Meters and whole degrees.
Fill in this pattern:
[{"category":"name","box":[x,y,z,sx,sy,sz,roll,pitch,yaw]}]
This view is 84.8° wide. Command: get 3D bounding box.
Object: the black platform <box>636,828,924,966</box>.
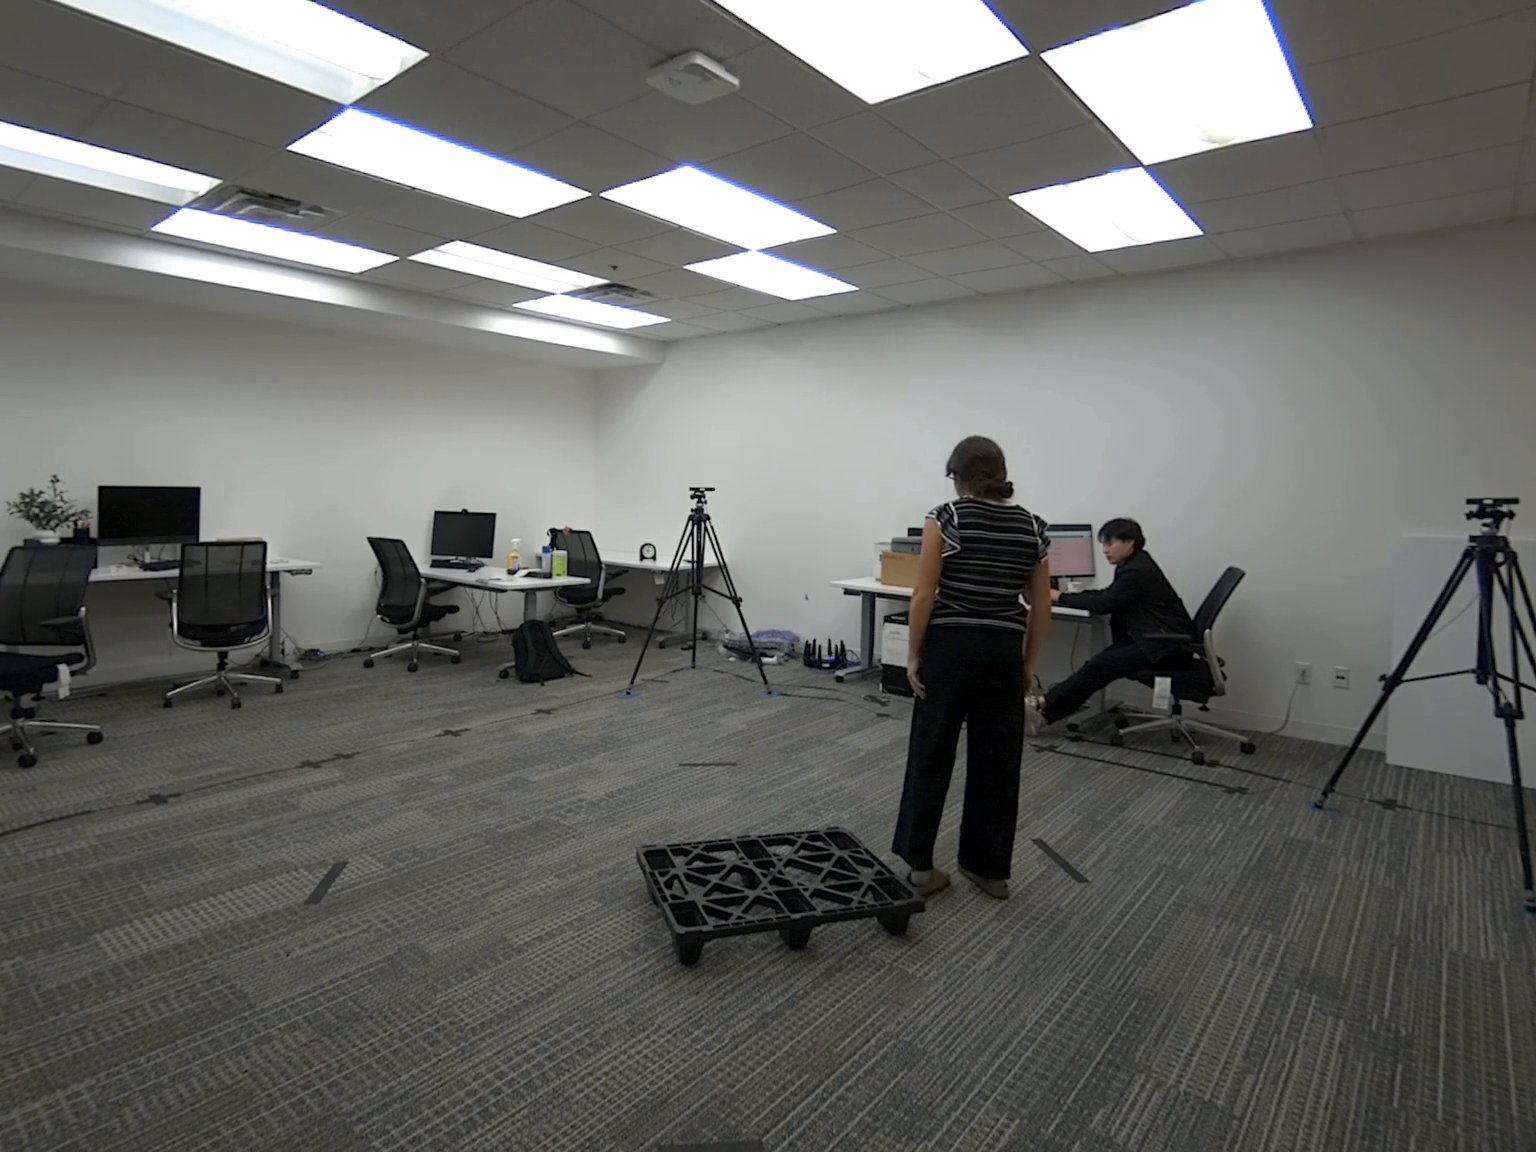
[{"category":"black platform","box":[0.008,1.034,2.793,0.791,0.142,0.619,-1,7,-18]}]
